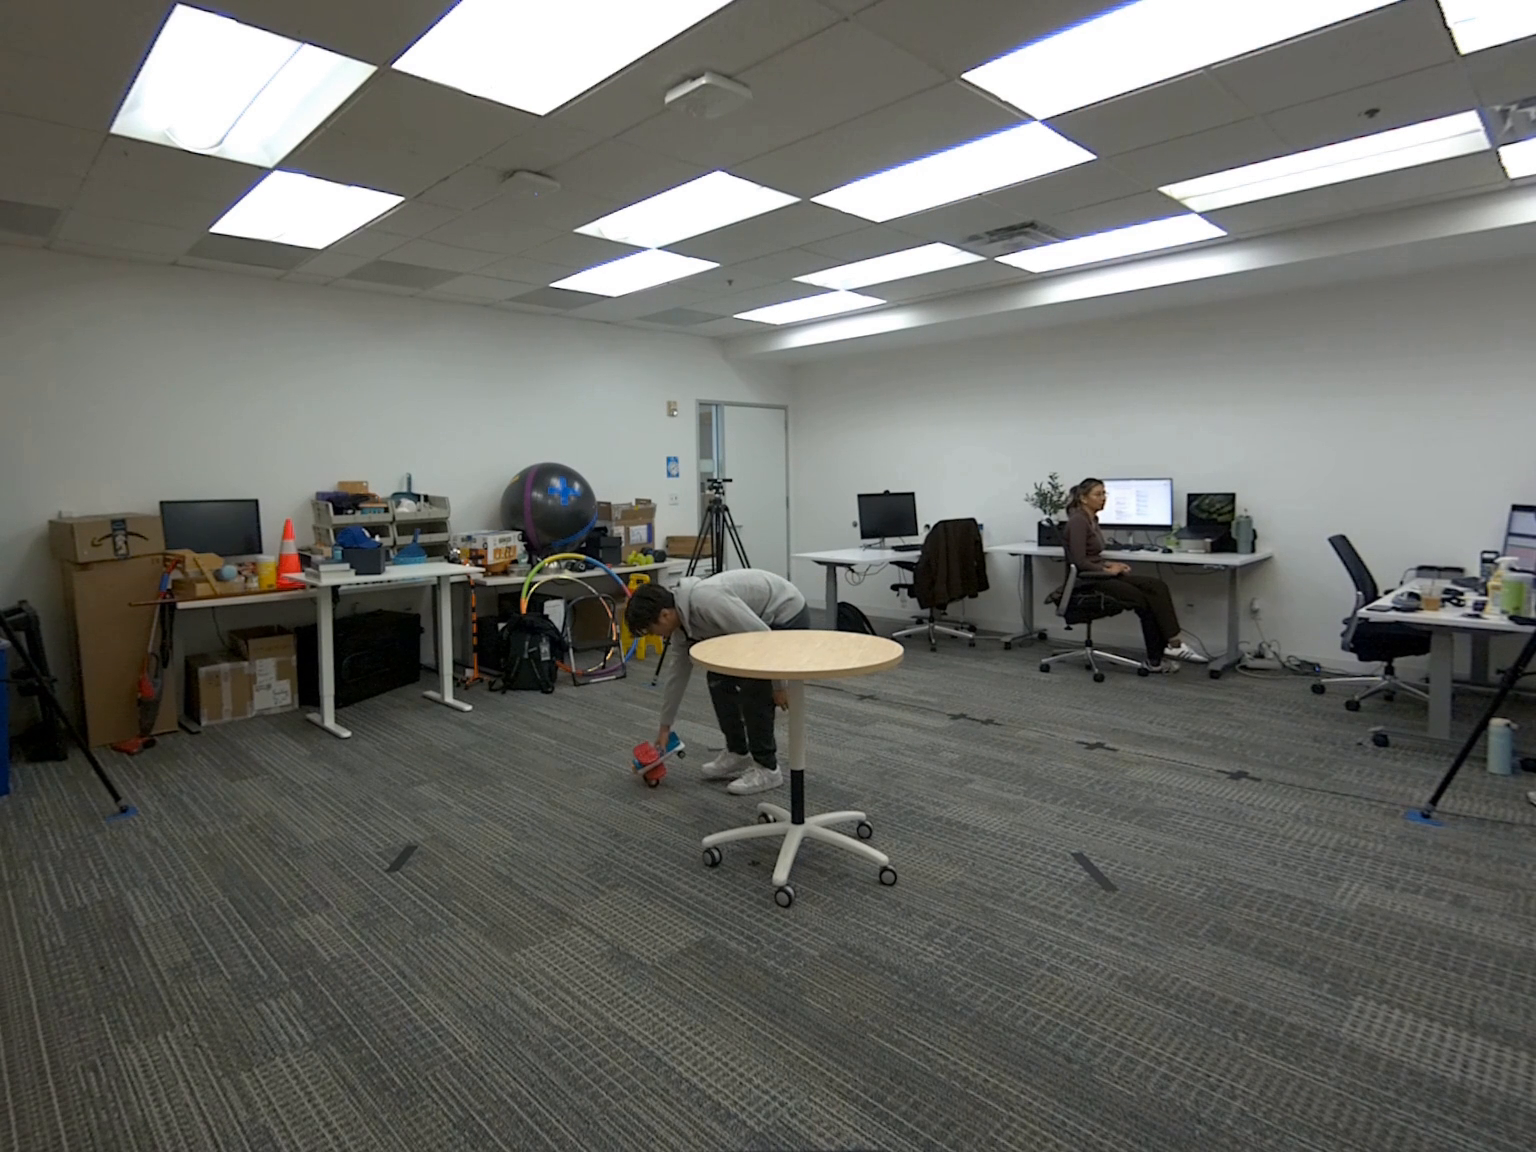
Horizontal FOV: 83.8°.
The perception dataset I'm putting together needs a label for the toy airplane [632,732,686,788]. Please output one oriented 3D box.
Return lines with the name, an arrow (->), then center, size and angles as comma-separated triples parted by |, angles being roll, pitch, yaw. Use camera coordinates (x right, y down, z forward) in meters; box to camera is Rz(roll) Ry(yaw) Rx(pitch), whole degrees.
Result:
toy airplane -> -0.520, 0.848, 3.974 | 0.255, 0.153, 0.260 | -19, 25, 45
